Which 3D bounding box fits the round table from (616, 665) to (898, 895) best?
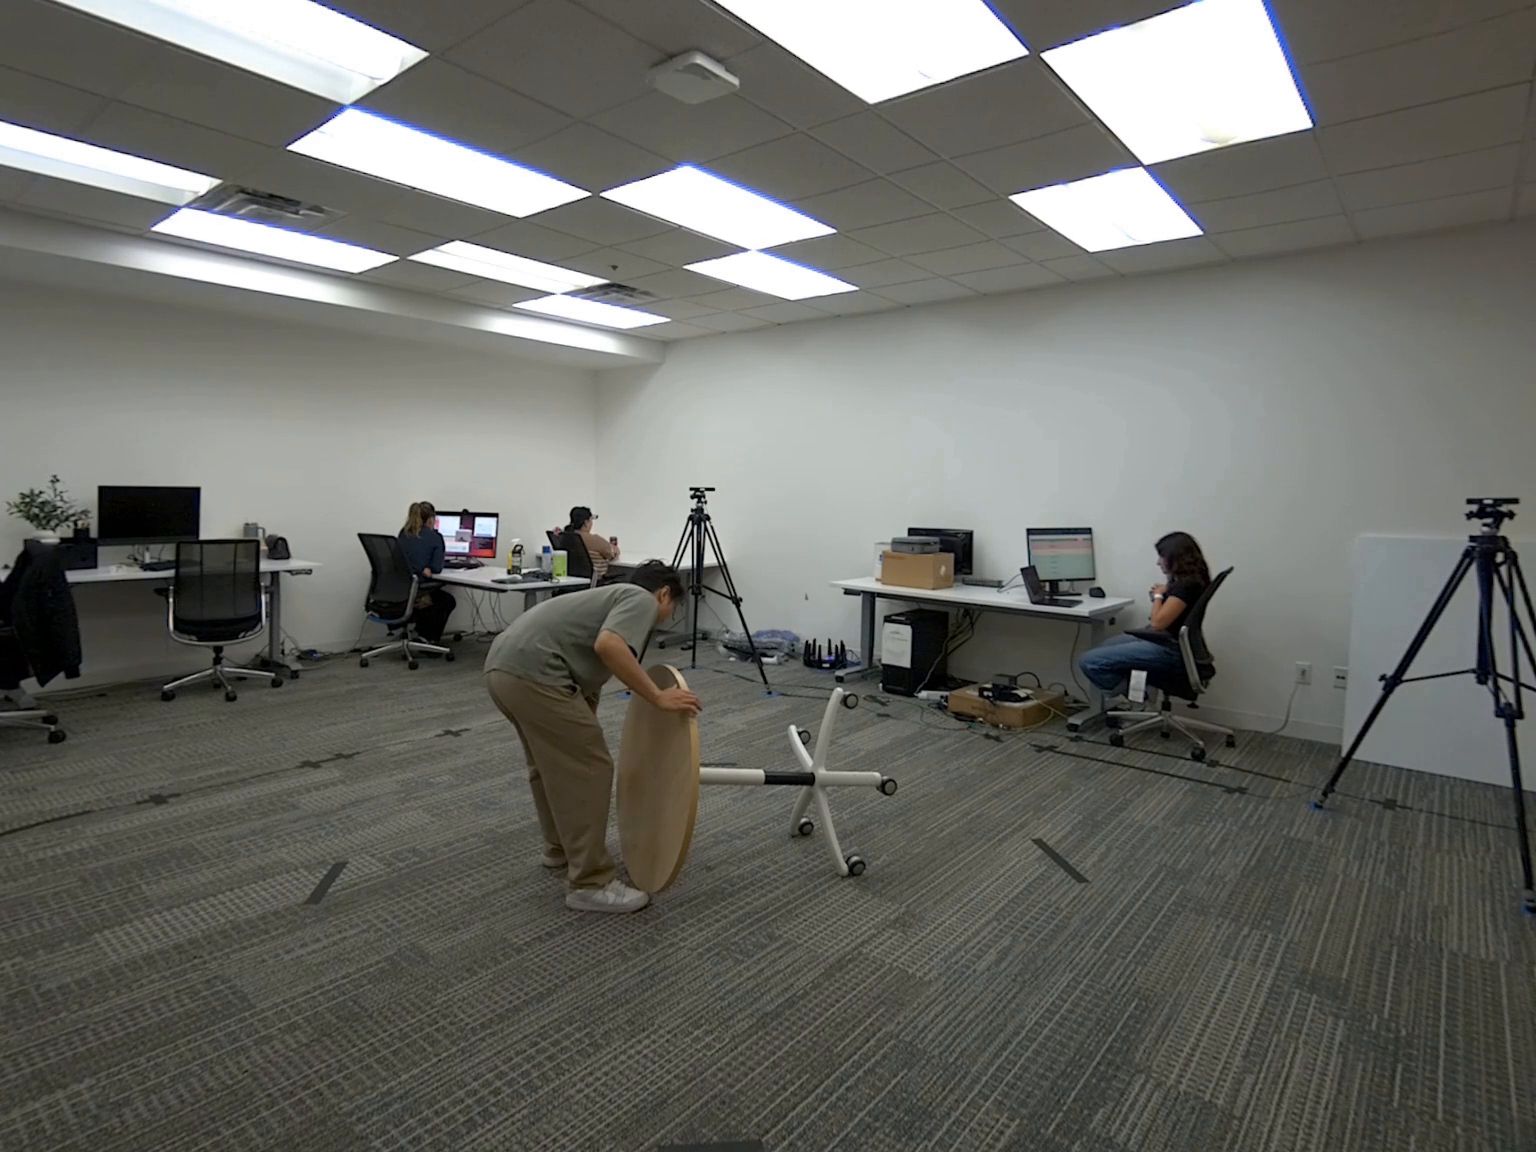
[{"bbox_3d":[-0.065,0.735,3.122,0.767,0.785,0.806,7,1,-24],"label":"round table"}]
